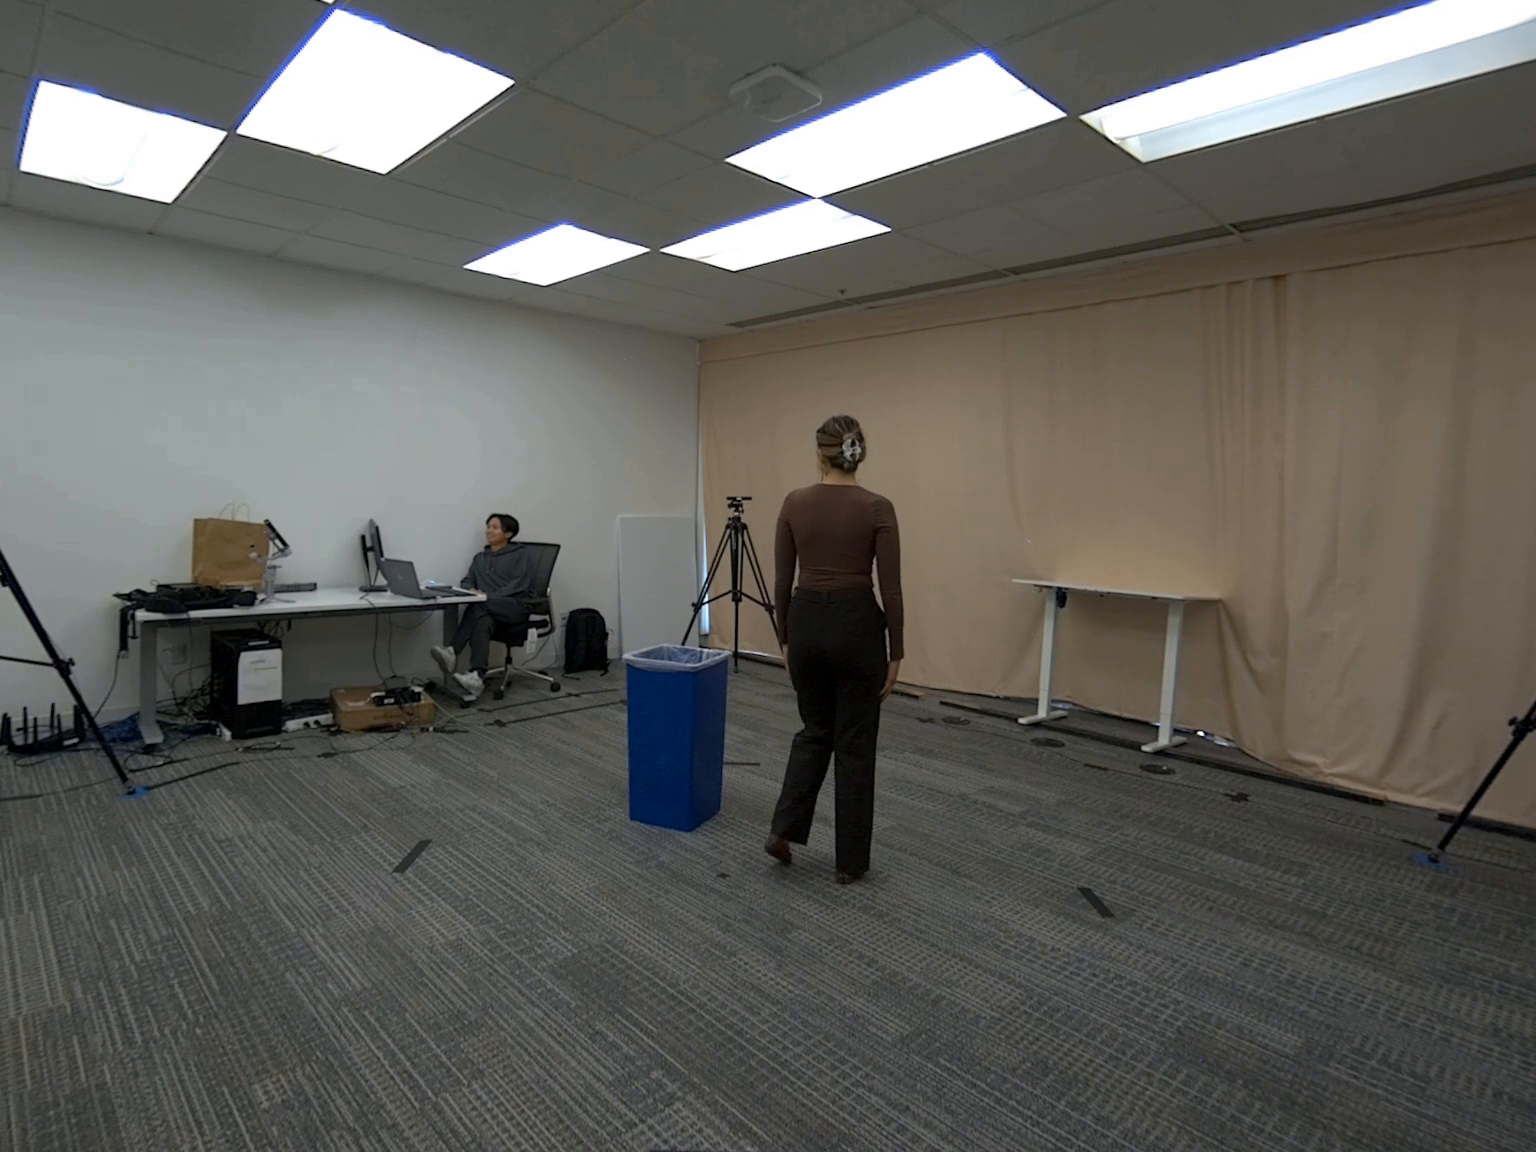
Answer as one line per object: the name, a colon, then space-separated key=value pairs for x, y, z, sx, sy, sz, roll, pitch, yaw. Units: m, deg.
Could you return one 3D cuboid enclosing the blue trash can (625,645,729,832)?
blue trash can: x=-0.407 y=0.692 z=3.669 sx=0.385 sy=0.712 sz=0.368 roll=3 pitch=3 yaw=24
